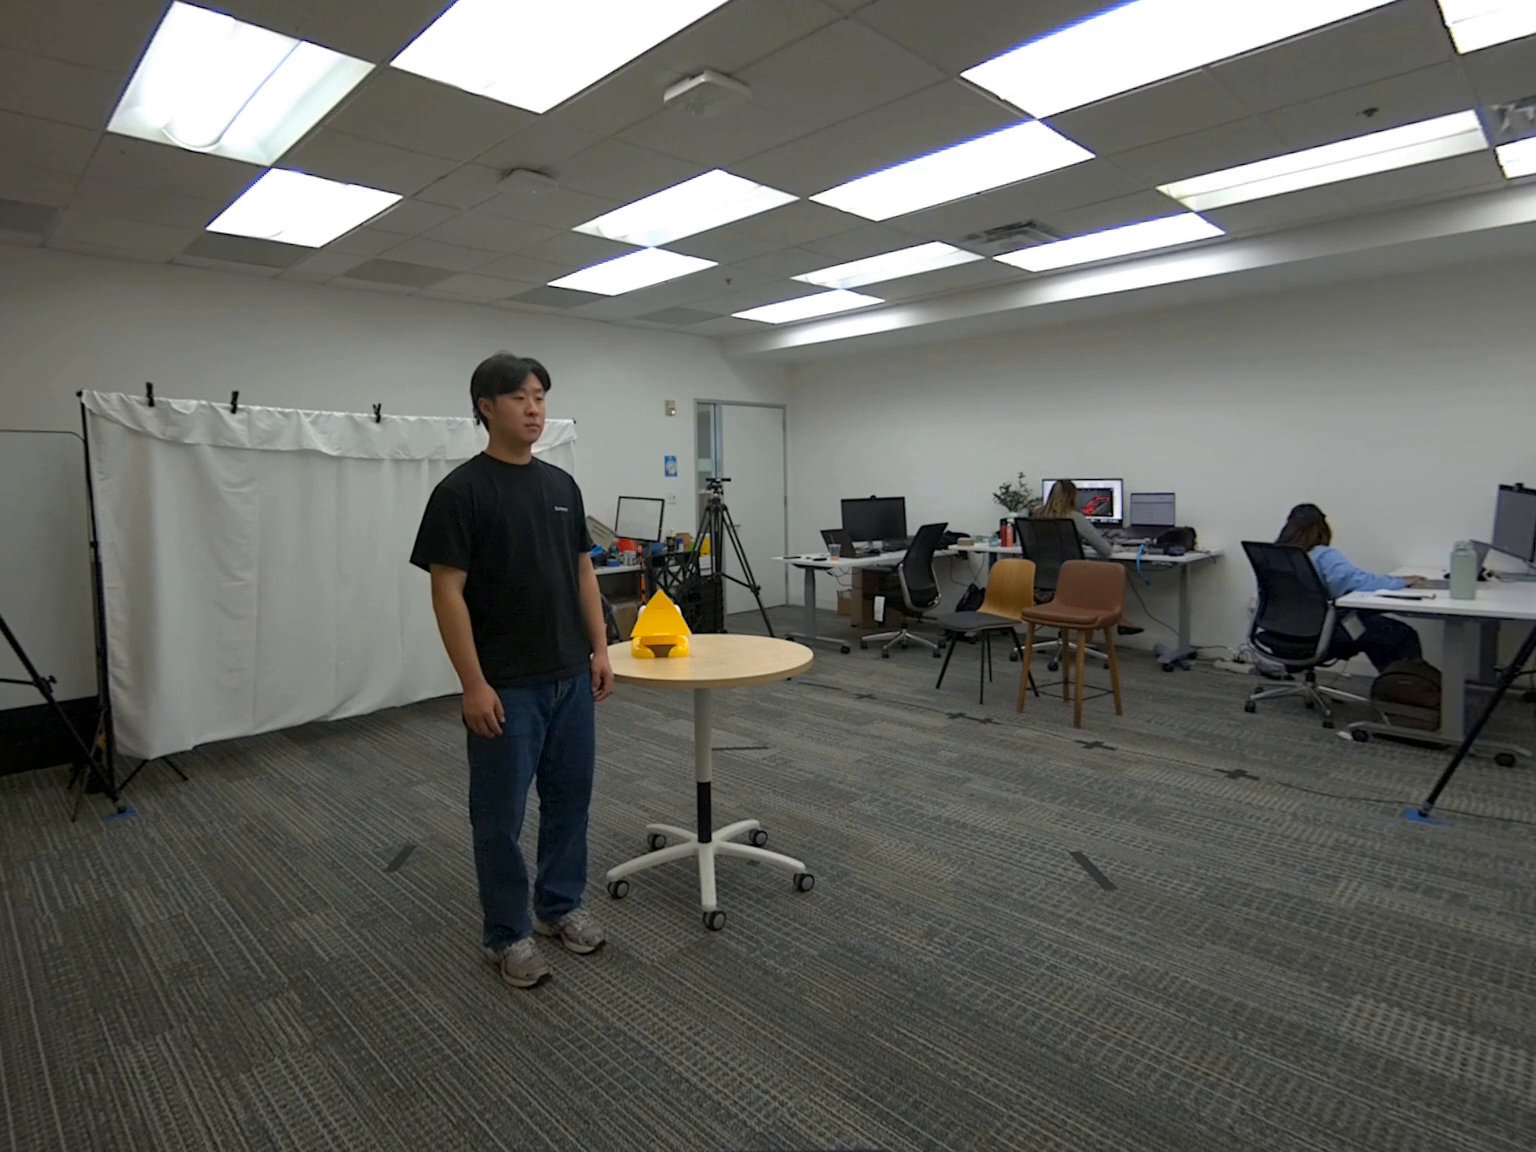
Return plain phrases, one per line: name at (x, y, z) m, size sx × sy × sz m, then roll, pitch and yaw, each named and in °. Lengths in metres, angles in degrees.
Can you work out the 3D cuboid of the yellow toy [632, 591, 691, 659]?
yellow toy at (-0.370, 0.154, 2.948) m, size 0.203 × 0.230 × 0.195 m, roll -1°, pitch 5°, yaw -8°
